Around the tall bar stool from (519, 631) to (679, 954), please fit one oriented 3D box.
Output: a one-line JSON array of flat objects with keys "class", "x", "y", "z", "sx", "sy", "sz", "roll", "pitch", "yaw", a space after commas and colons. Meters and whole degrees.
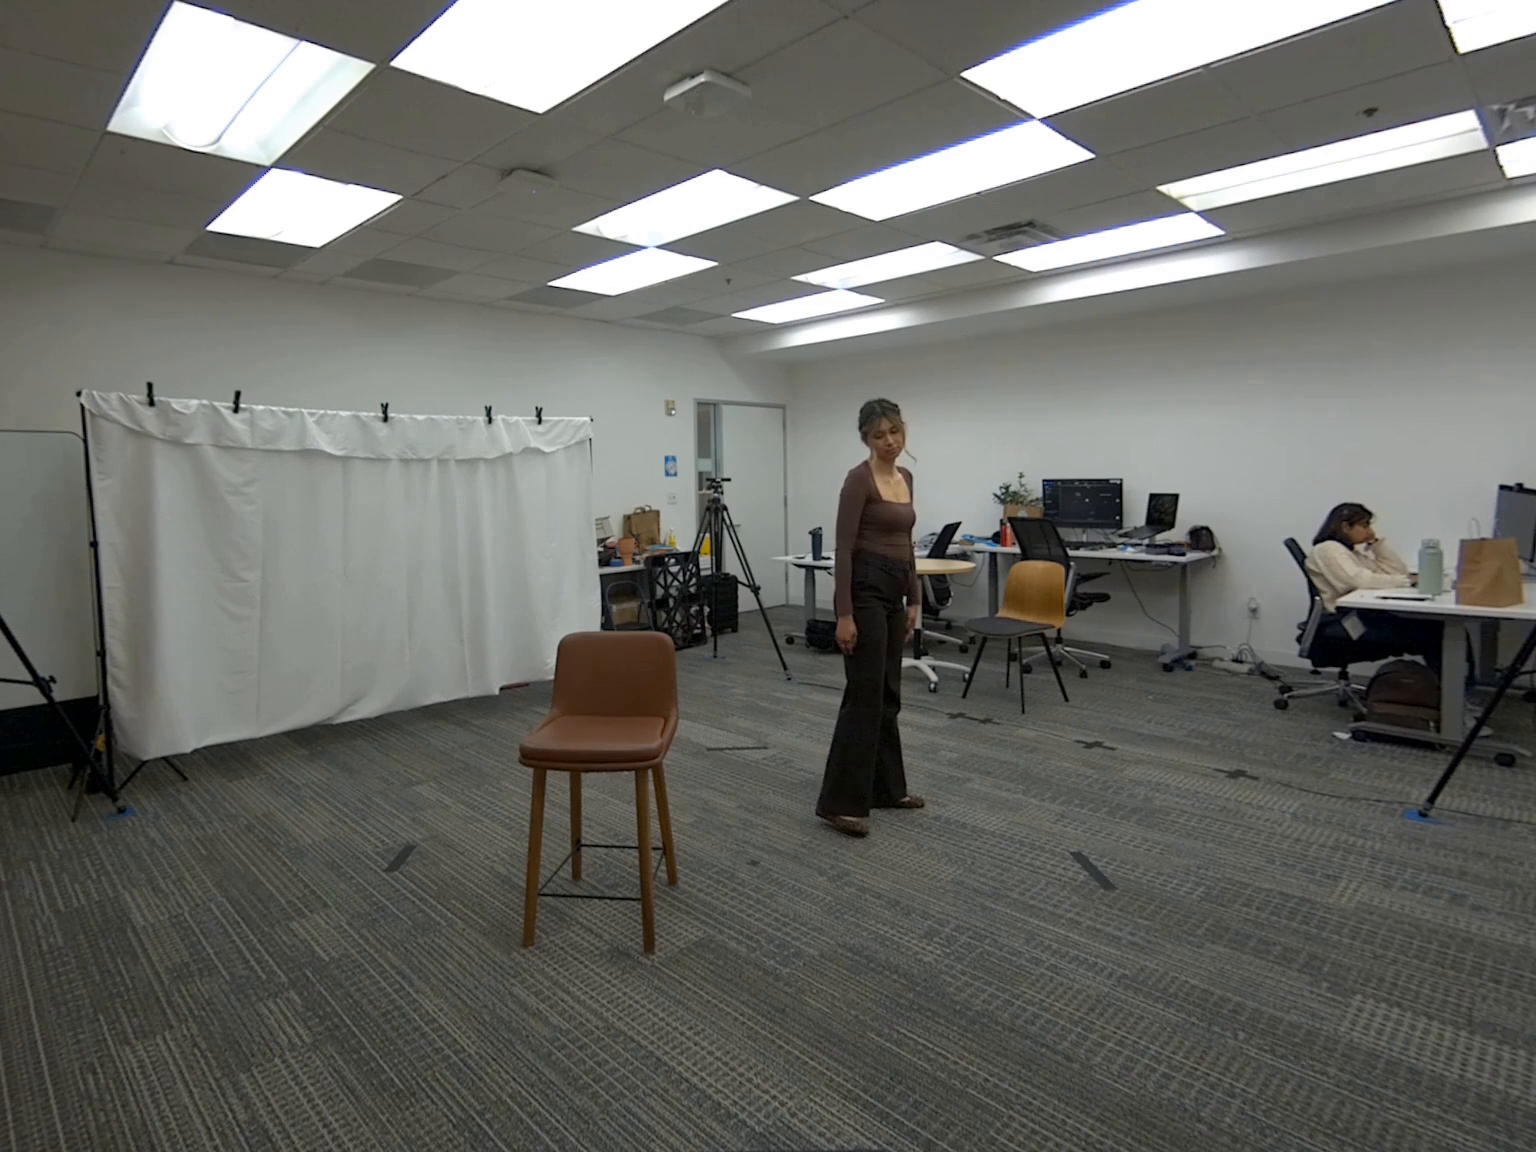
[{"class": "tall bar stool", "x": -0.527, "y": 0.659, "z": 2.745, "sx": 0.460, "sy": 0.887, "sz": 0.465, "roll": 0, "pitch": 3, "yaw": 8}]
